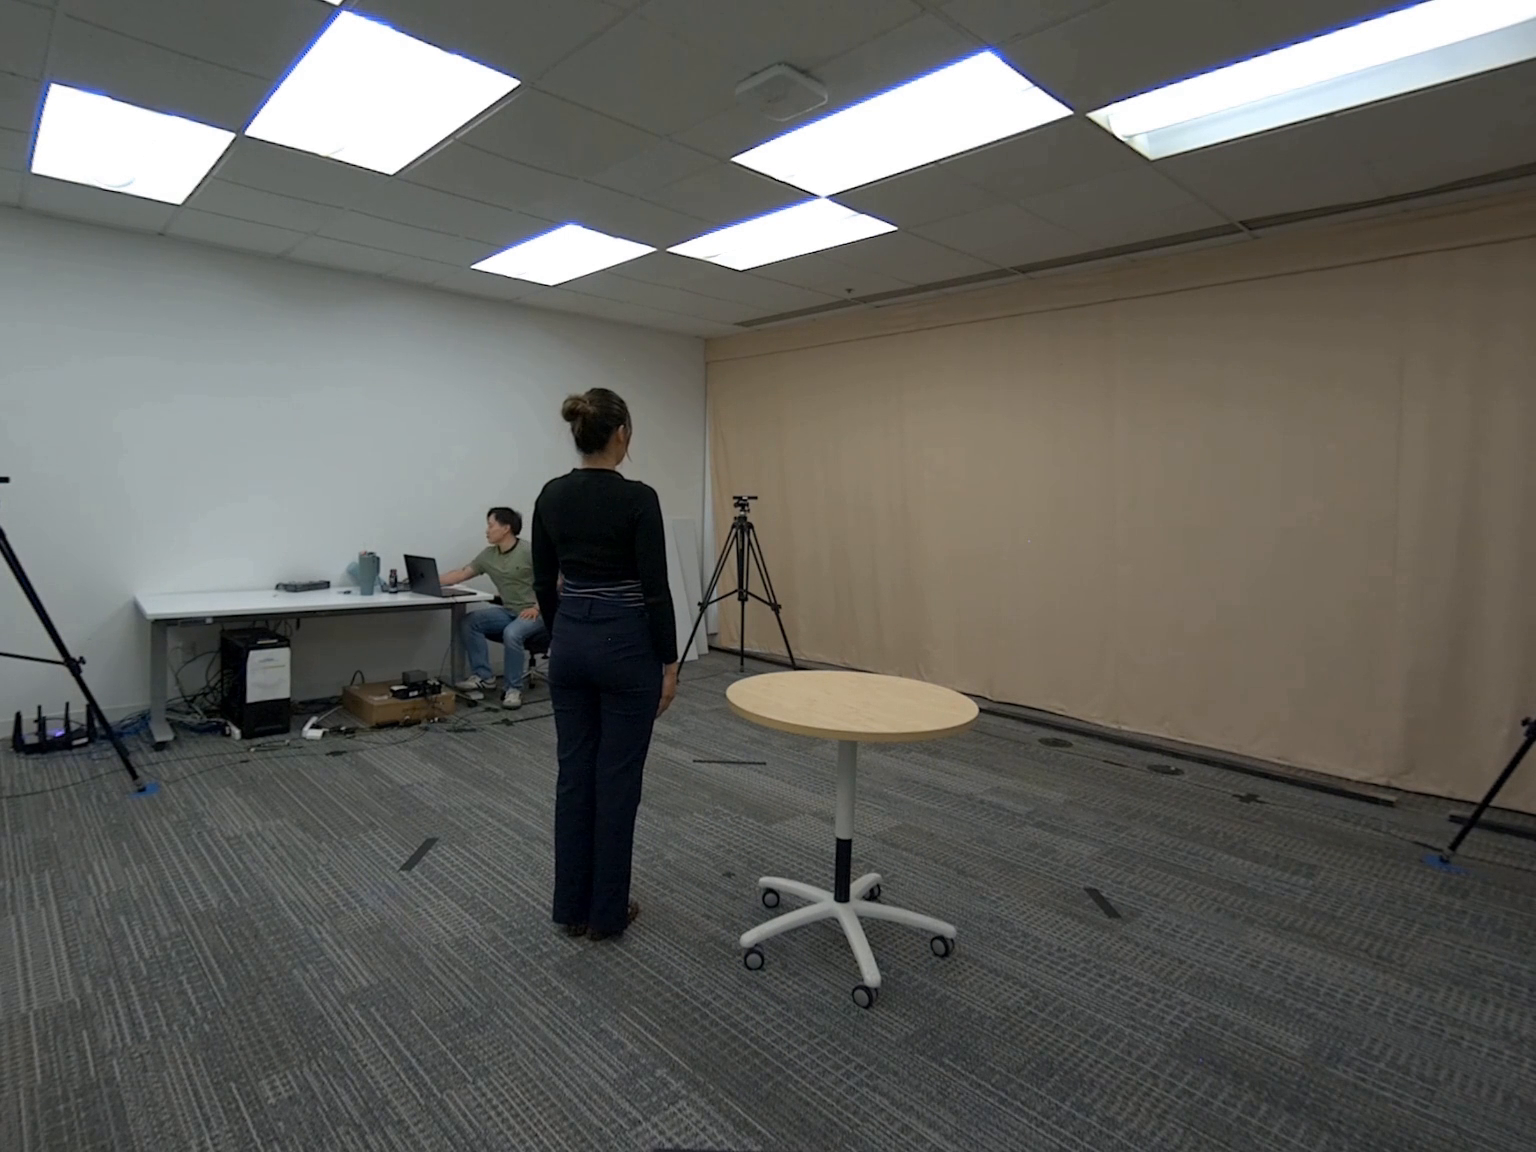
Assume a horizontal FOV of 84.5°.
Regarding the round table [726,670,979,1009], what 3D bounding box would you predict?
[{"bbox_3d":[0.238,0.768,2.622,0.763,0.791,0.767,2,5,-2],"label":"round table"}]
